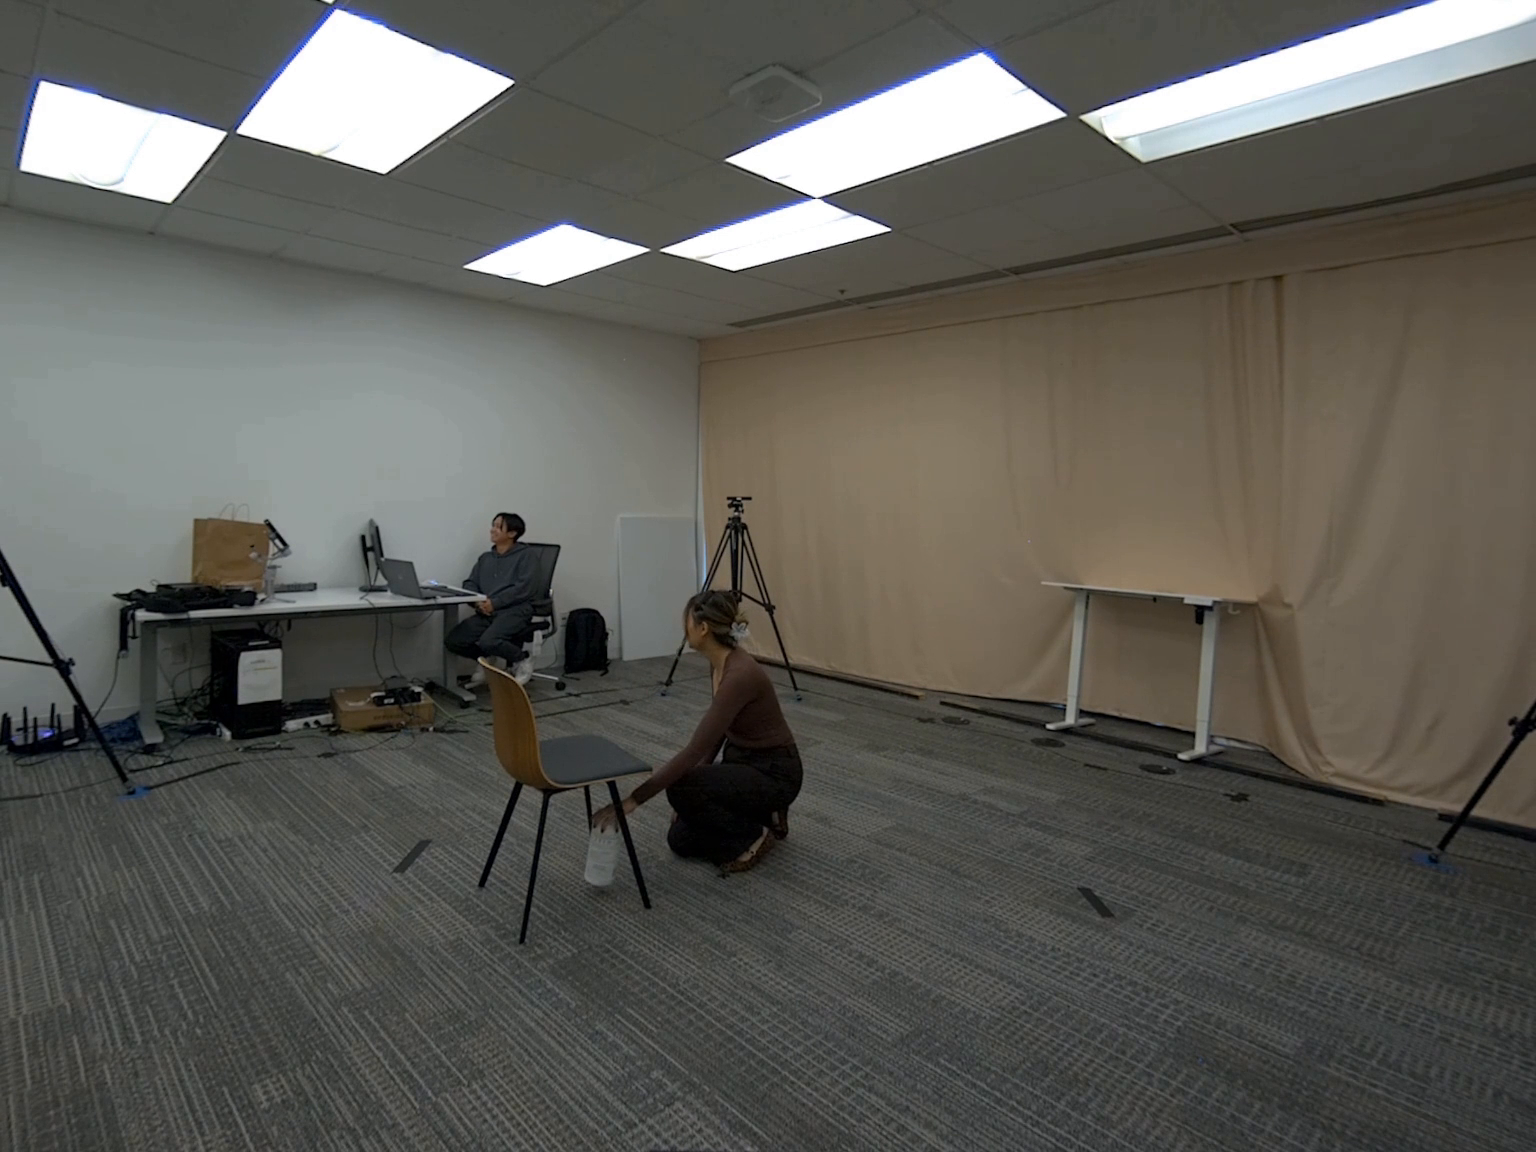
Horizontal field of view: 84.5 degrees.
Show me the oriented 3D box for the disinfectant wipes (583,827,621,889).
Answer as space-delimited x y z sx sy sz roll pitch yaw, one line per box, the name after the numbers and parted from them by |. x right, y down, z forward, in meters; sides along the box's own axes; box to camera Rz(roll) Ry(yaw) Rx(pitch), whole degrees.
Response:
-0.580 0.968 2.938 0.117 0.217 0.118 8 5 -2 | disinfectant wipes
